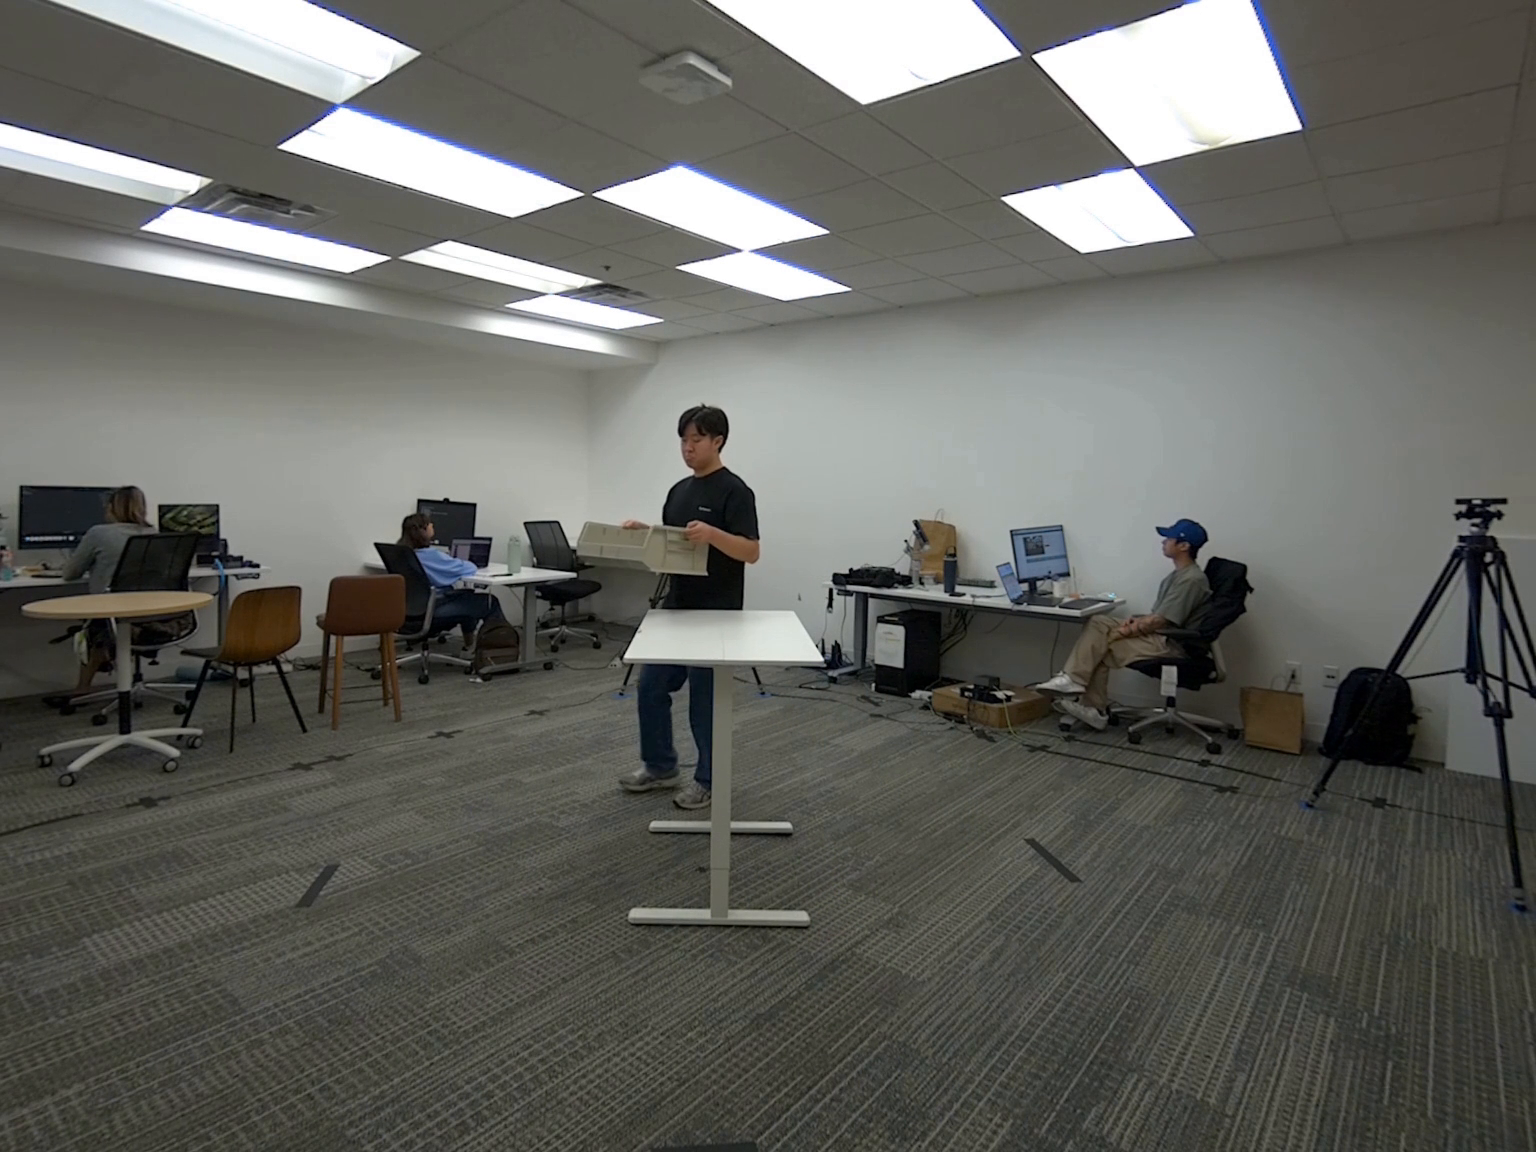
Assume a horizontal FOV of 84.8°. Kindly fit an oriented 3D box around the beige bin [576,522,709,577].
[{"bbox_3d":[-0.517,-0.112,3.466,0.437,0.189,0.364,5,0,41],"label":"beige bin"}]
